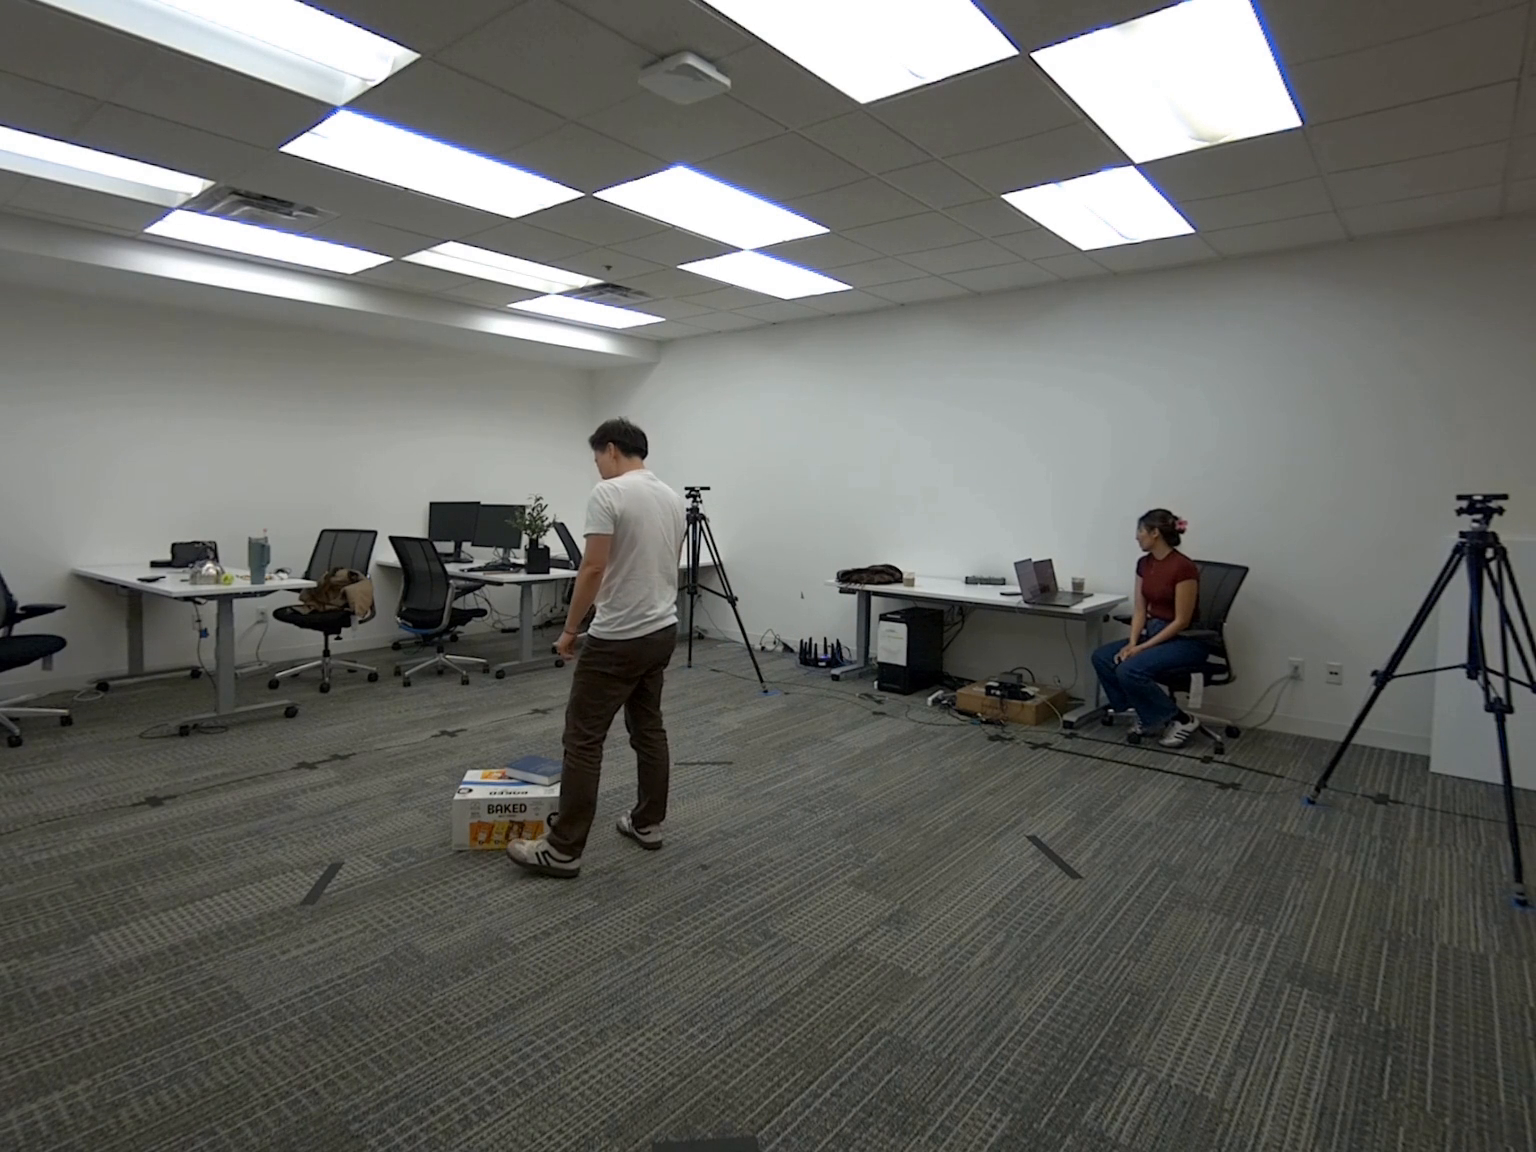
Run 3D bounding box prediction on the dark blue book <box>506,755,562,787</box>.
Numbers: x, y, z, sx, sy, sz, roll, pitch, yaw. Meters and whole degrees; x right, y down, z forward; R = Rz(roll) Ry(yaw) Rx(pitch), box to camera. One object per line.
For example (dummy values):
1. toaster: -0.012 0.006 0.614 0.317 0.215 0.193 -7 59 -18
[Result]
1. dark blue book: -0.954 0.797 3.486 0.252 0.045 0.160 4 8 29
